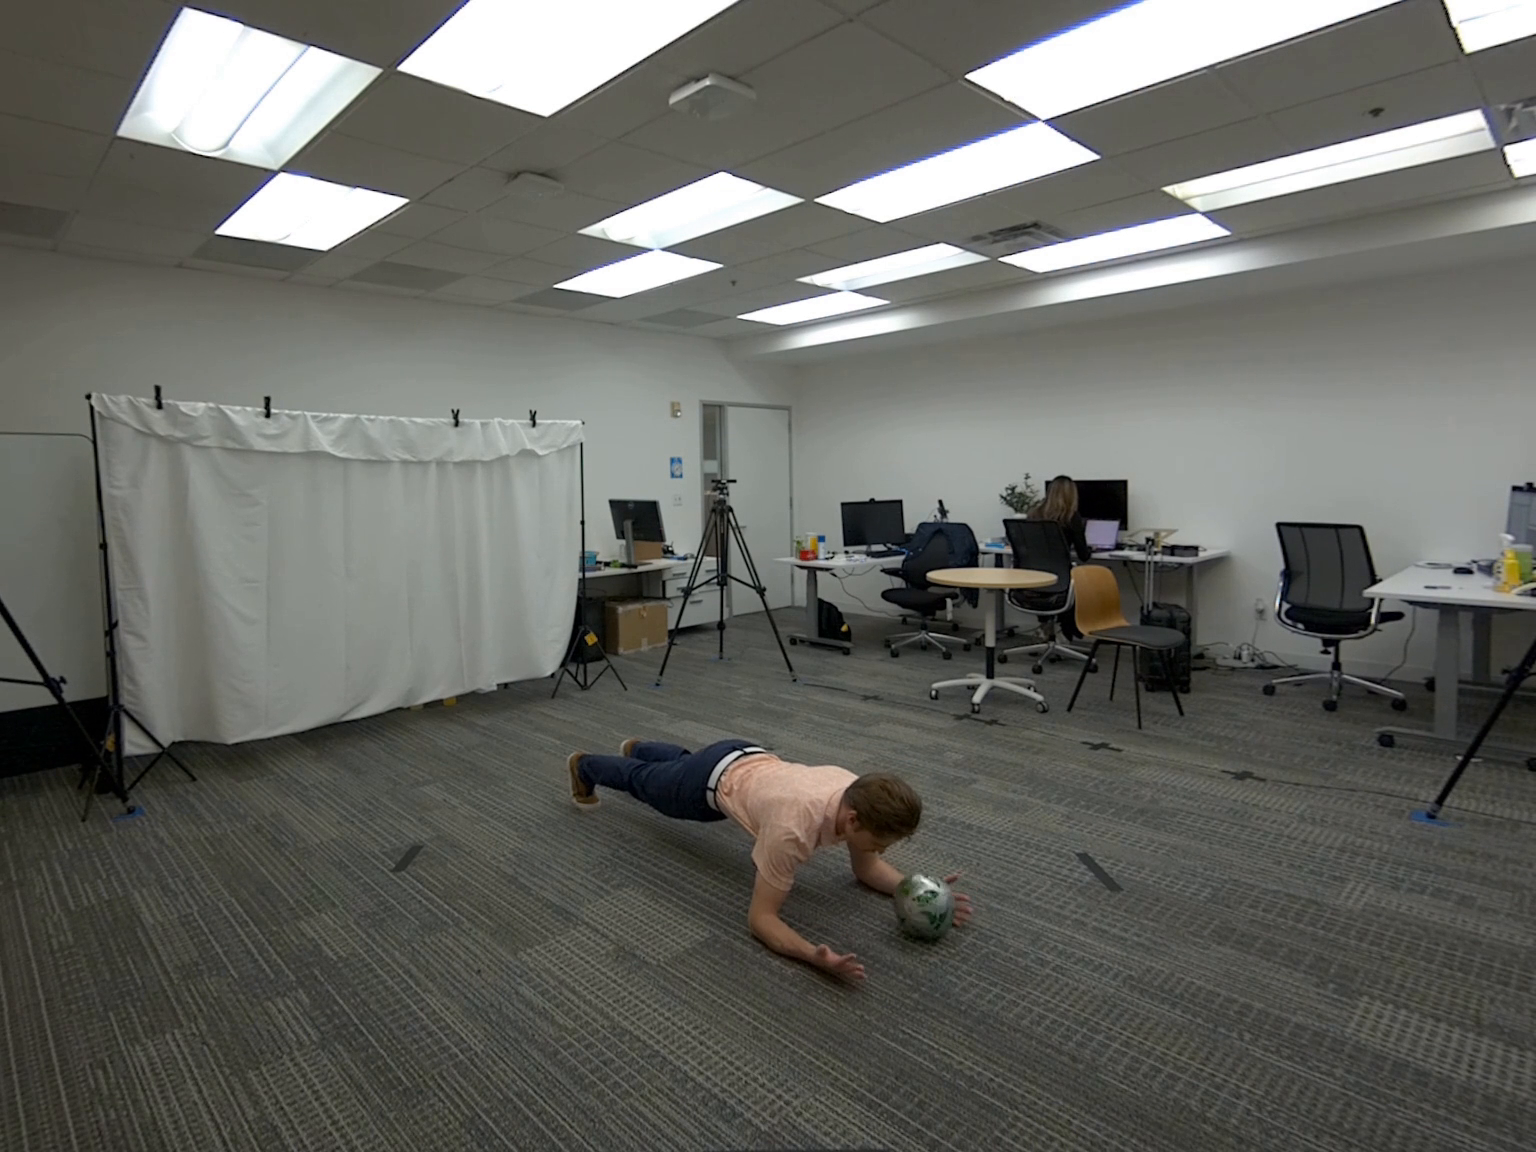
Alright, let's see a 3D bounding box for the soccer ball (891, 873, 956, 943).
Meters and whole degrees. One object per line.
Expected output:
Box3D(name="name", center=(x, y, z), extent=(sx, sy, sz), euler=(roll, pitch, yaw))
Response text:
Box3D(name="soccer ball", center=(0.469, 1.001, 2.598), extent=(0.187, 0.187, 0.188), euler=(-1, 5, -2))
